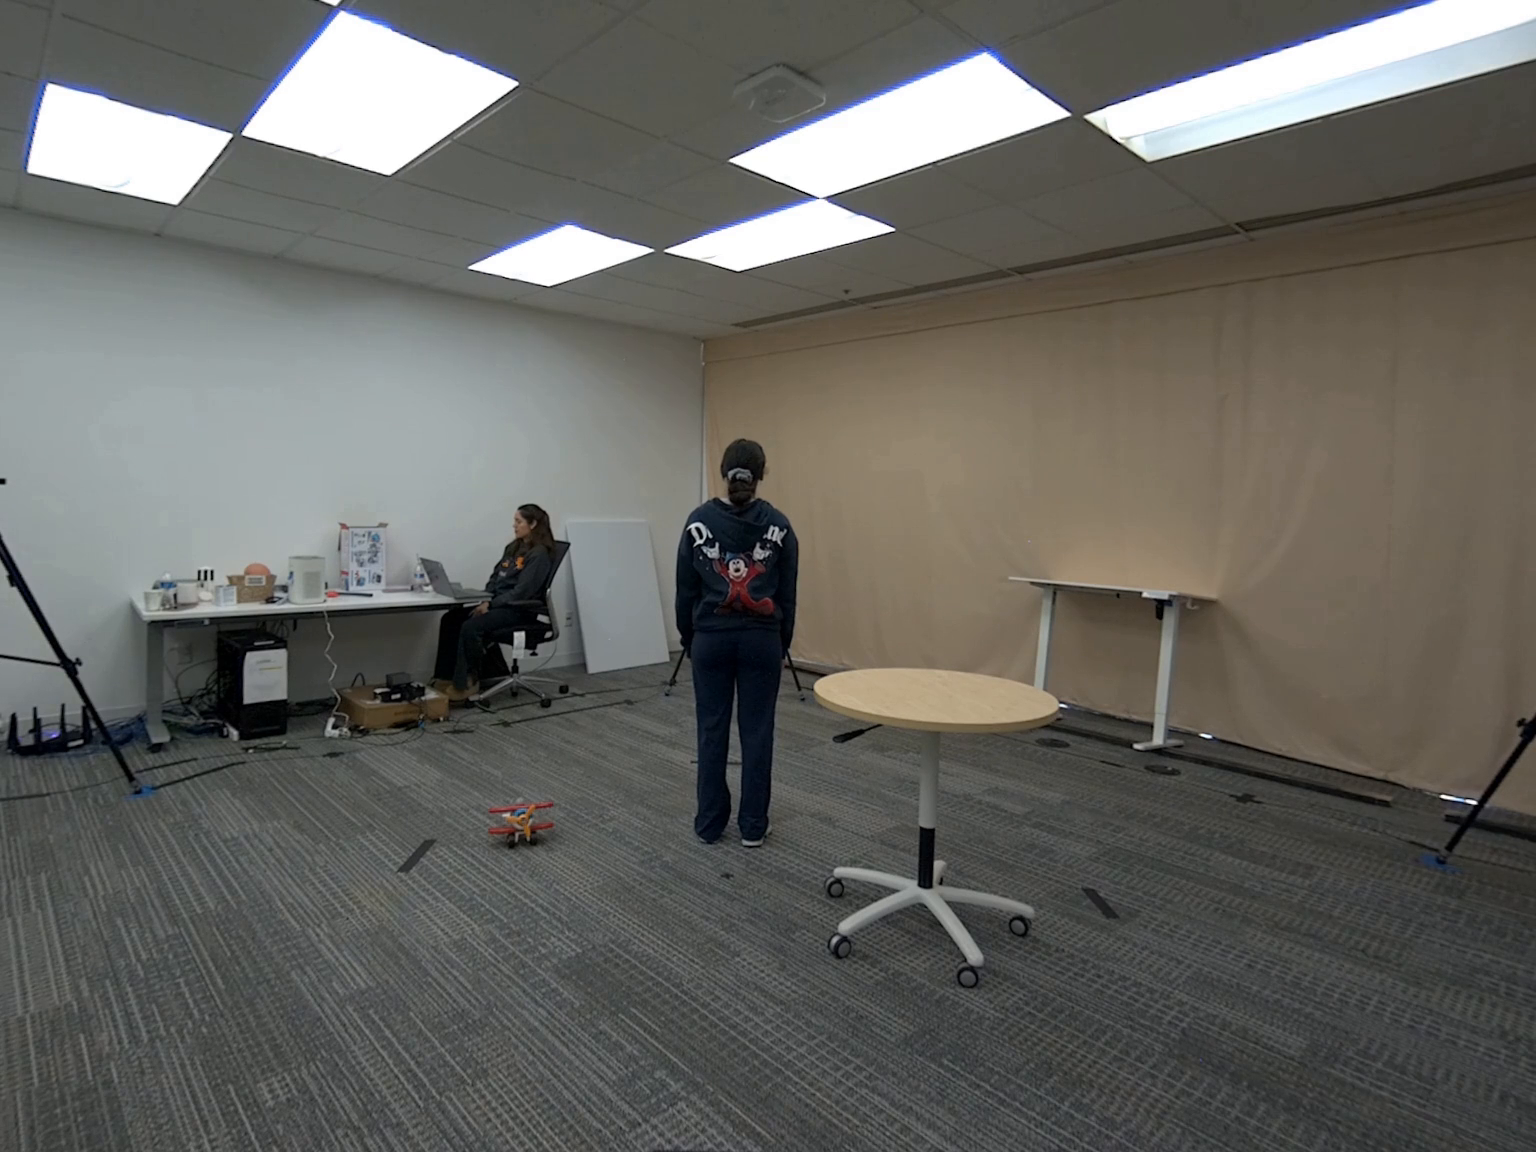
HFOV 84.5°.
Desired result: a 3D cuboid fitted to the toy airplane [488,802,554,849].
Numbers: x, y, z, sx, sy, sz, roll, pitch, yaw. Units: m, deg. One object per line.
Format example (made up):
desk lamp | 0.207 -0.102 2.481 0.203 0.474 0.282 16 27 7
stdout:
toy airplane | -1.033 0.989 3.404 0.266 0.156 0.245 6 7 43
